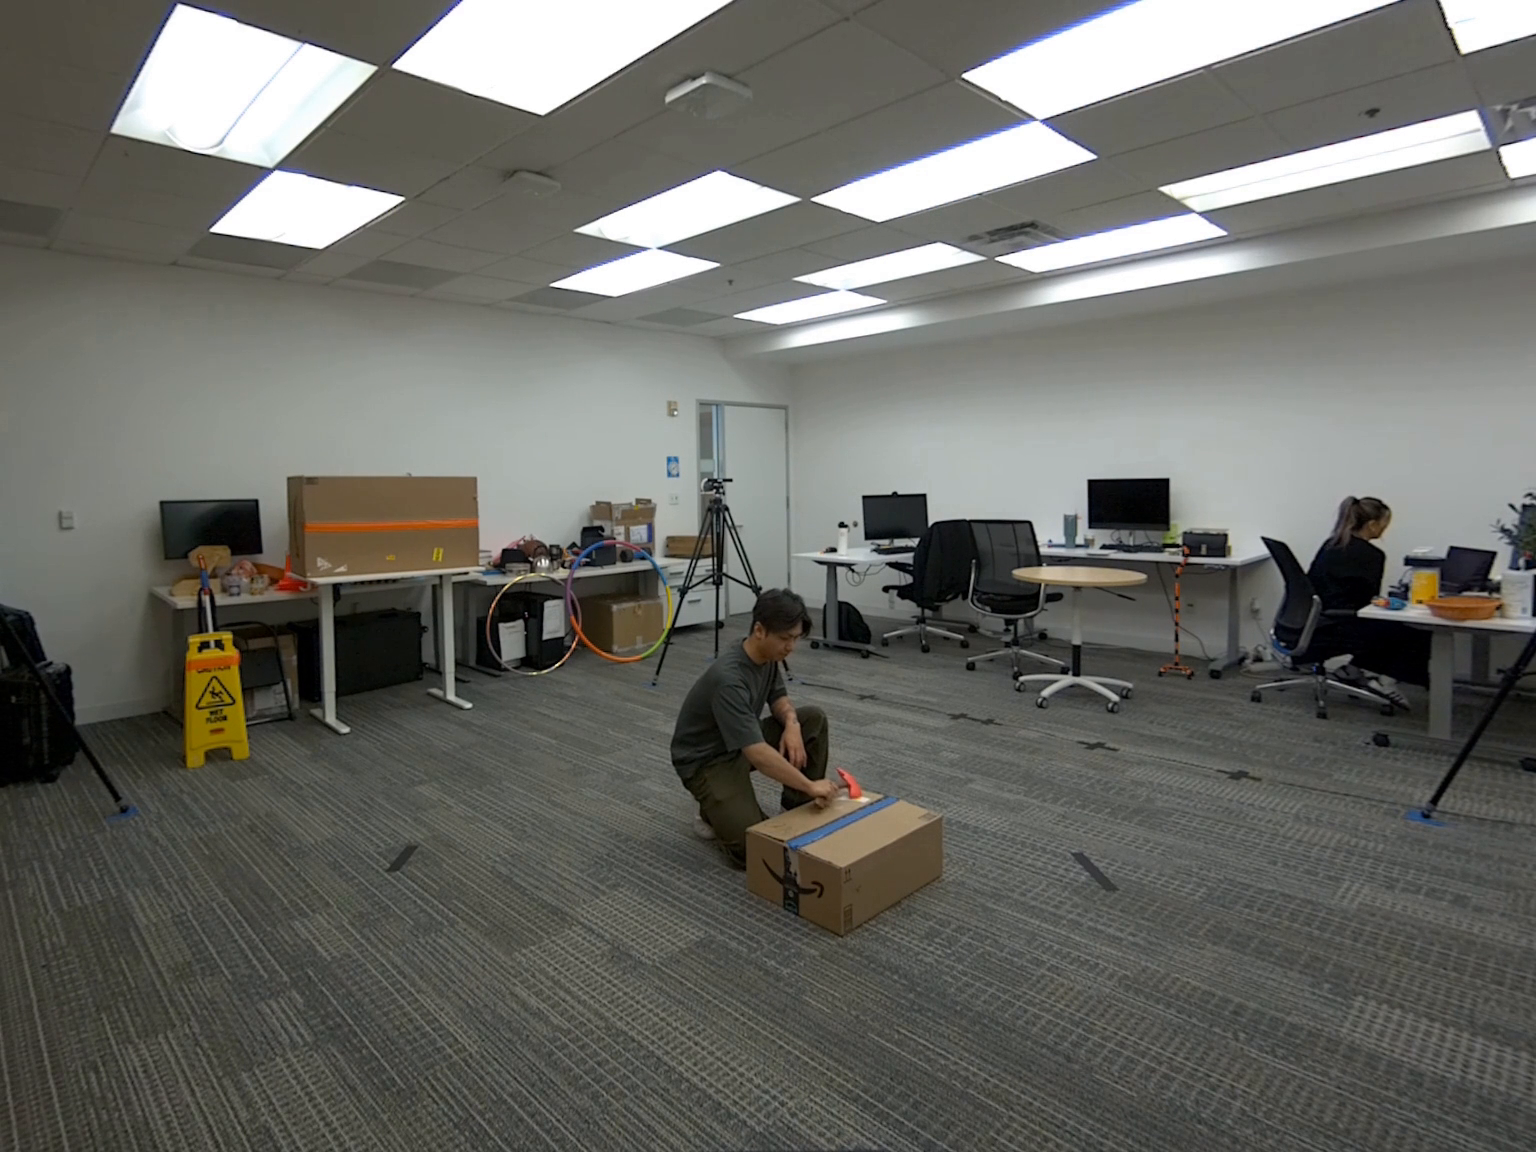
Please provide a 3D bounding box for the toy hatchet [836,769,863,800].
[{"bbox_3d":[0.245,0.804,3.115,0.134,0.029,0.267,39,40,16],"label":"toy hatchet"}]
